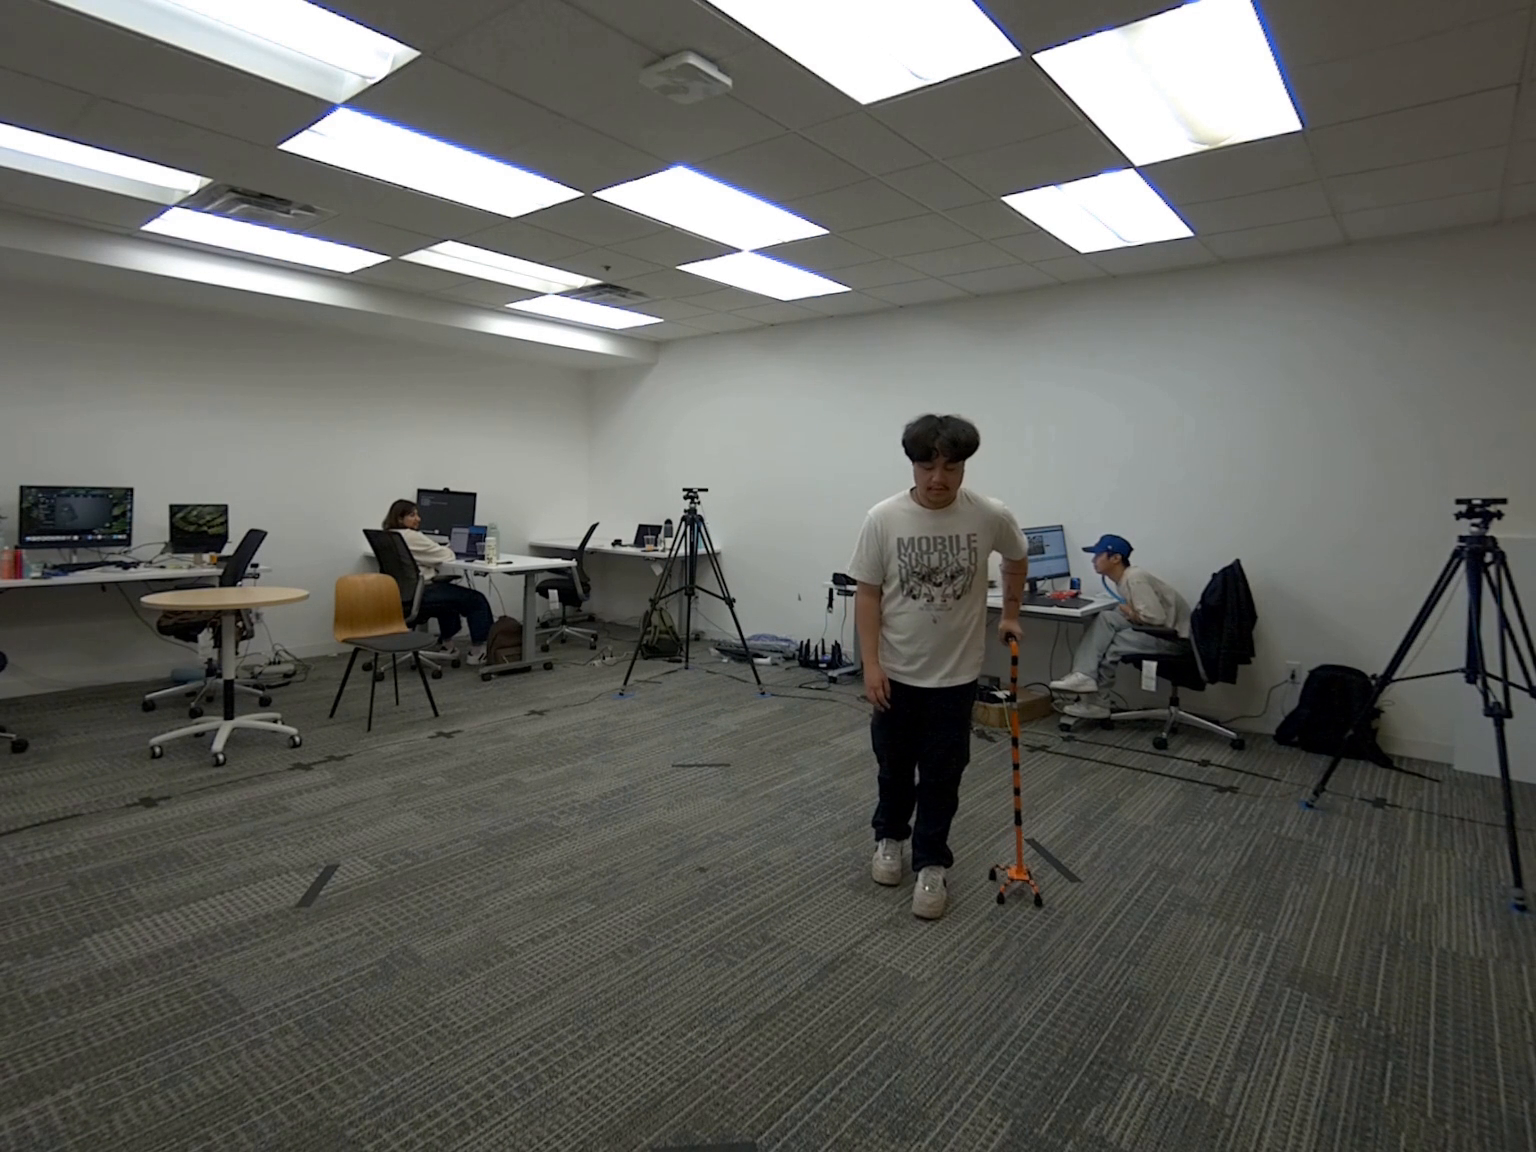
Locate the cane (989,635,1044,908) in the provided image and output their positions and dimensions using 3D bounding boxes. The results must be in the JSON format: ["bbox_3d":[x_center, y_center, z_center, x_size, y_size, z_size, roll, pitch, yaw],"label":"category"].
[{"bbox_3d":[0.848,0.657,2.948,0.152,0.904,0.206,-2,5,4],"label":"cane"}]
